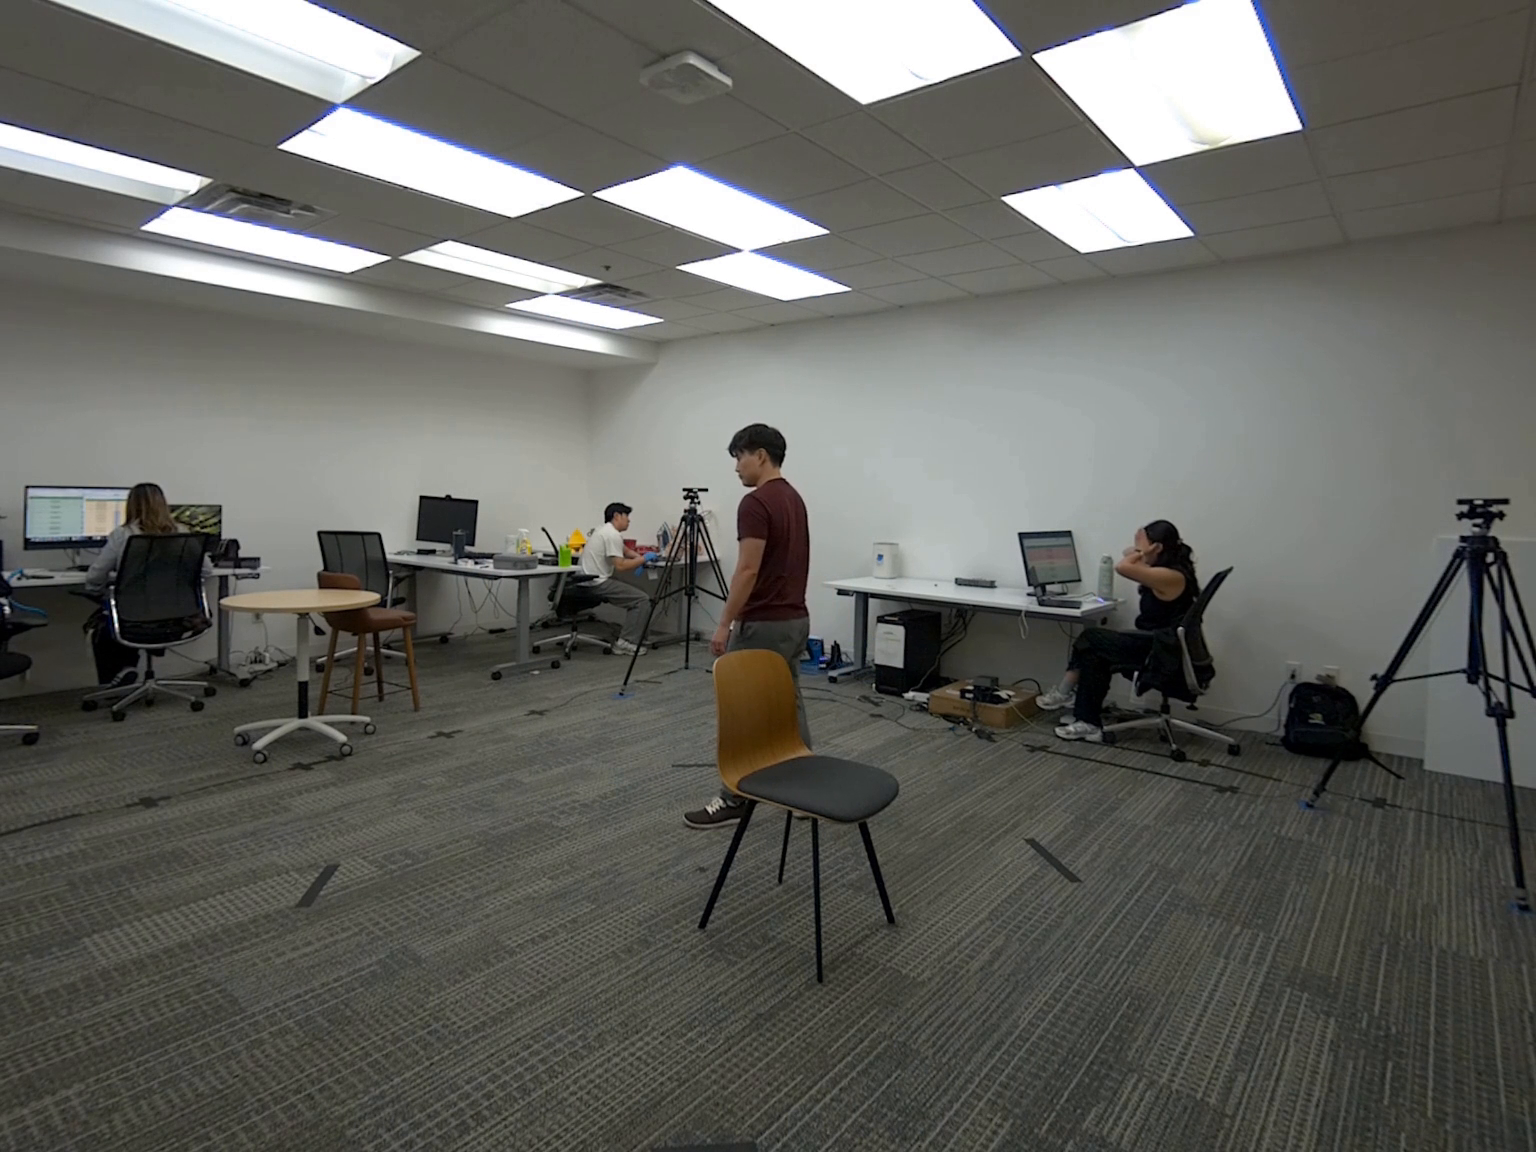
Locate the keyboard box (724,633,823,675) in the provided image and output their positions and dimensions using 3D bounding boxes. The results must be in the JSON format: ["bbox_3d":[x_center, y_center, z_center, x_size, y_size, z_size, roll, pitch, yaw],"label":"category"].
[{"bbox_3d":[0.020,0.341,3.926,0.436,0.175,0.059,7,6,-1],"label":"keyboard box"}]
